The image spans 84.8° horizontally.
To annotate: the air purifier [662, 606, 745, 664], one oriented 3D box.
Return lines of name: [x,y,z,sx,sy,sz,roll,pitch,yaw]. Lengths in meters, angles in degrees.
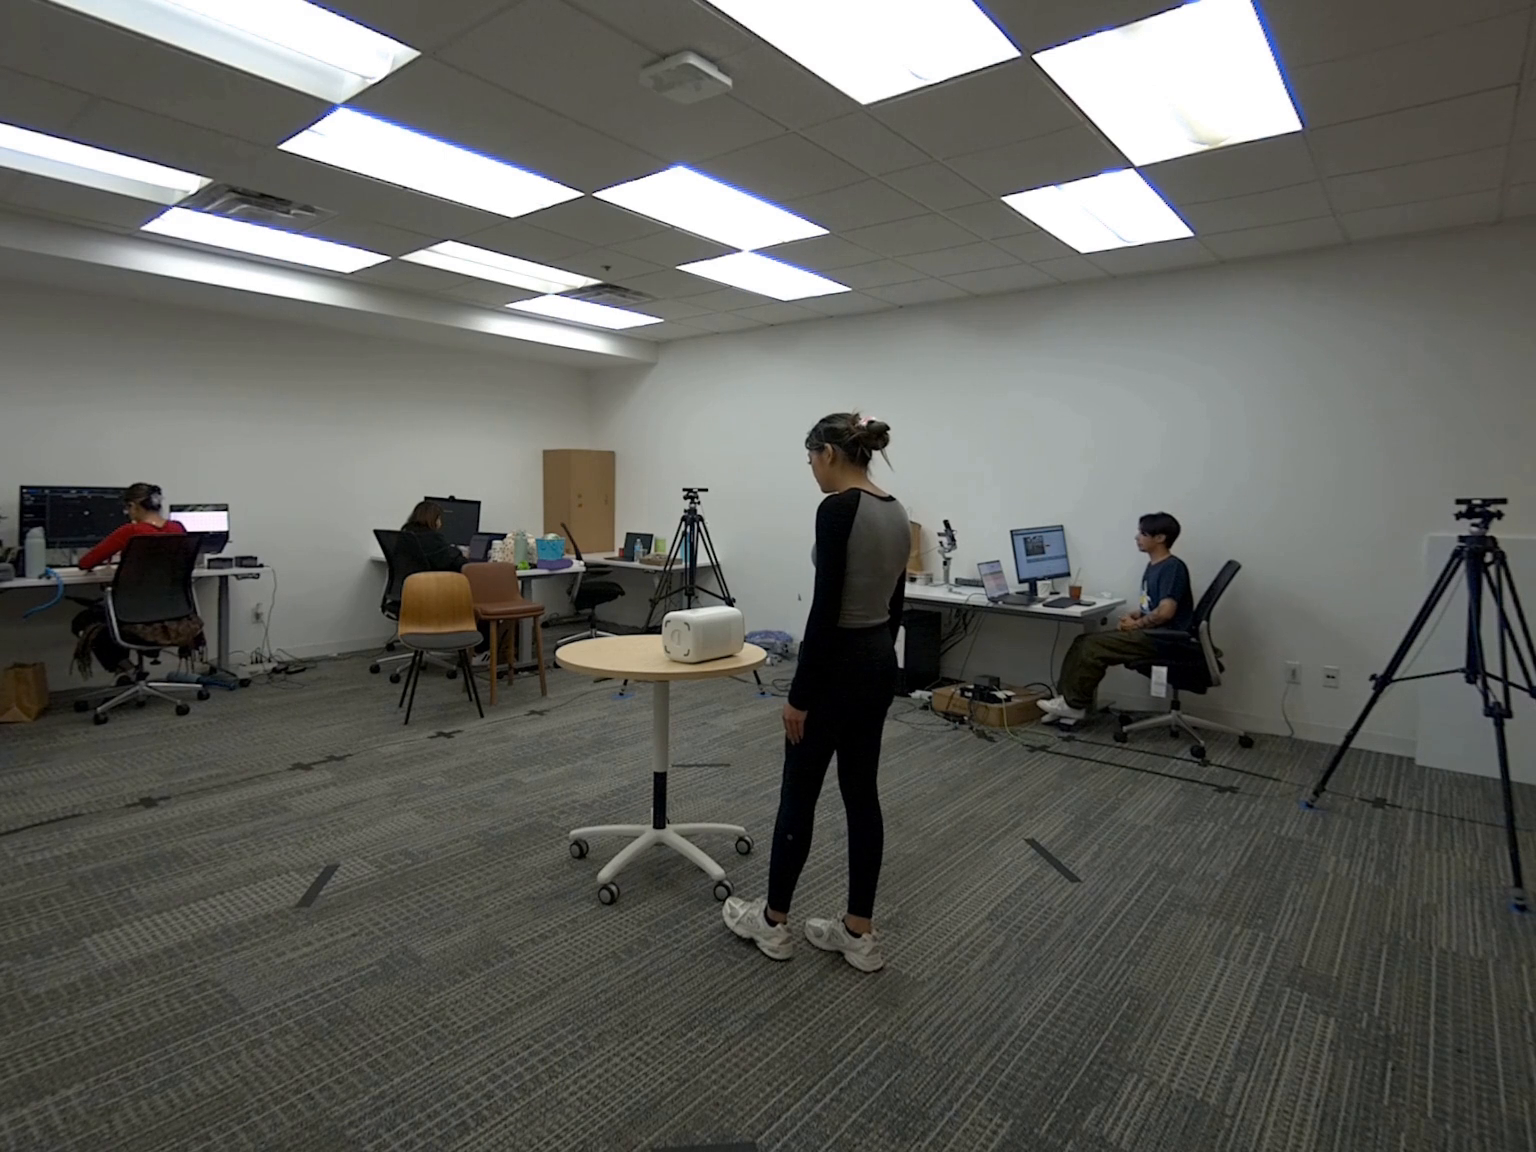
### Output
air purifier: [-0.240,0.198,2.983,0.177,0.171,0.258,4,5,38]
